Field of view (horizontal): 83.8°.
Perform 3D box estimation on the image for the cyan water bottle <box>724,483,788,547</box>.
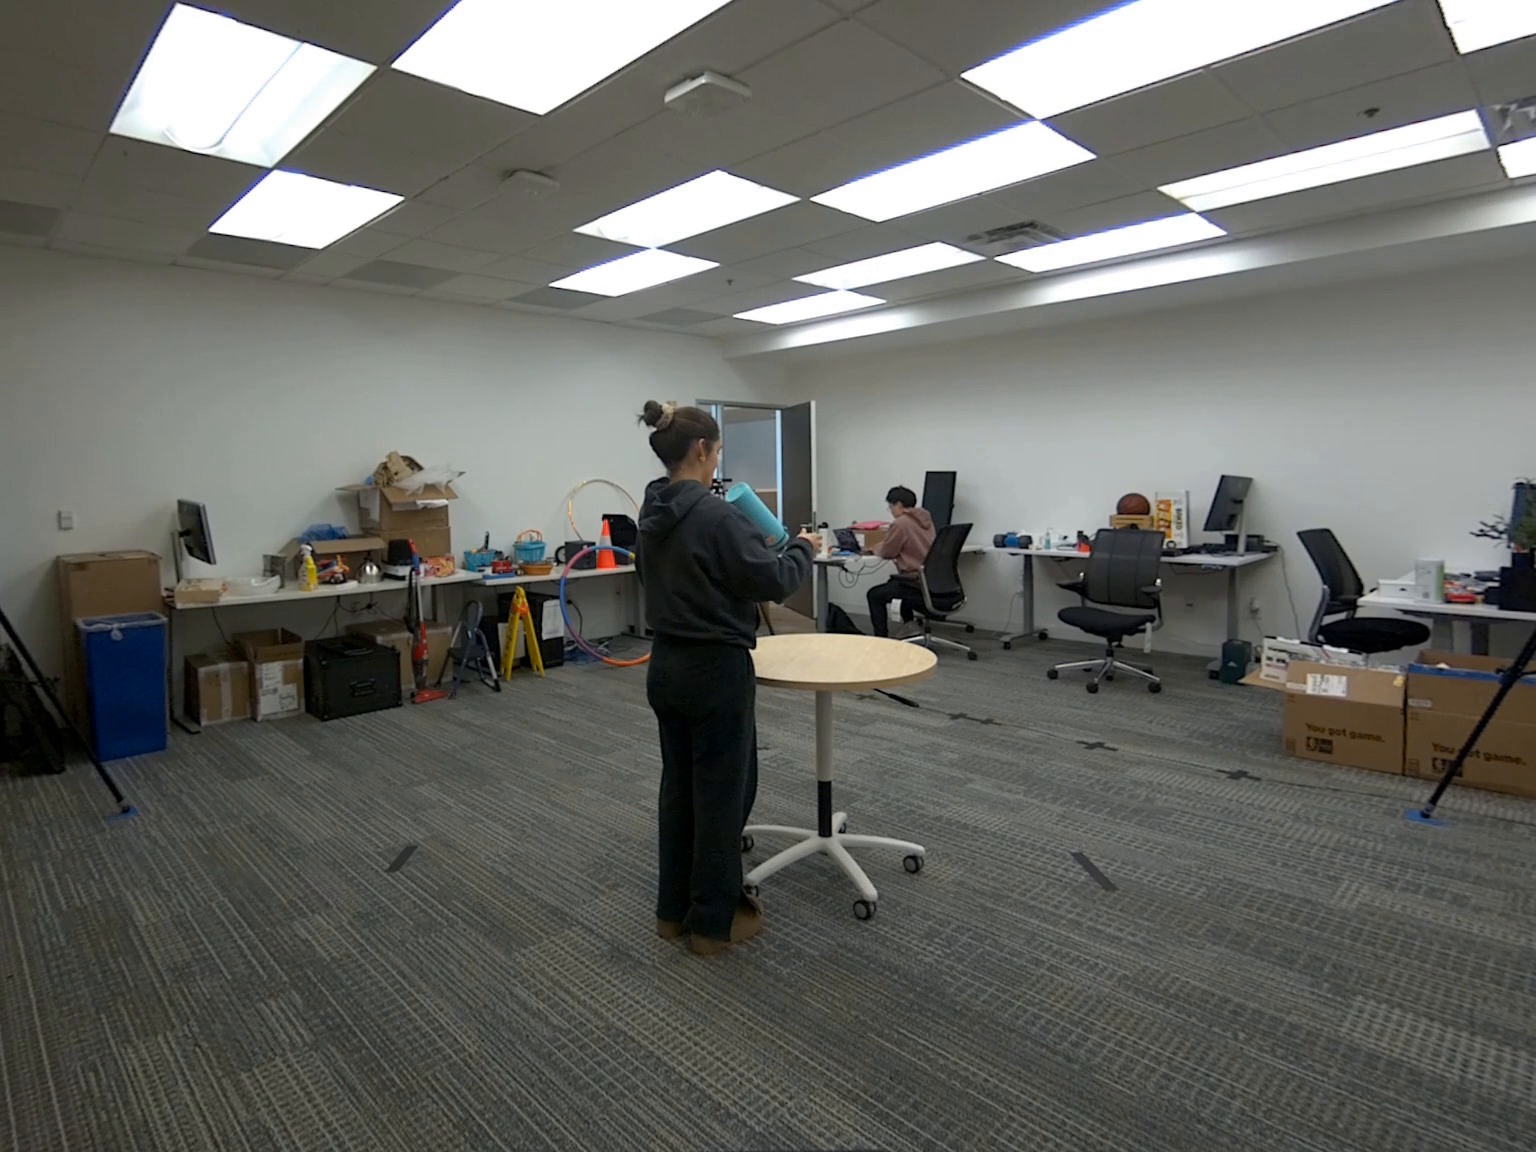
[{"bbox_3d":[-0.018,-0.180,2.813,0.275,0.092,0.095,47,-22,-26],"label":"cyan water bottle"}]
